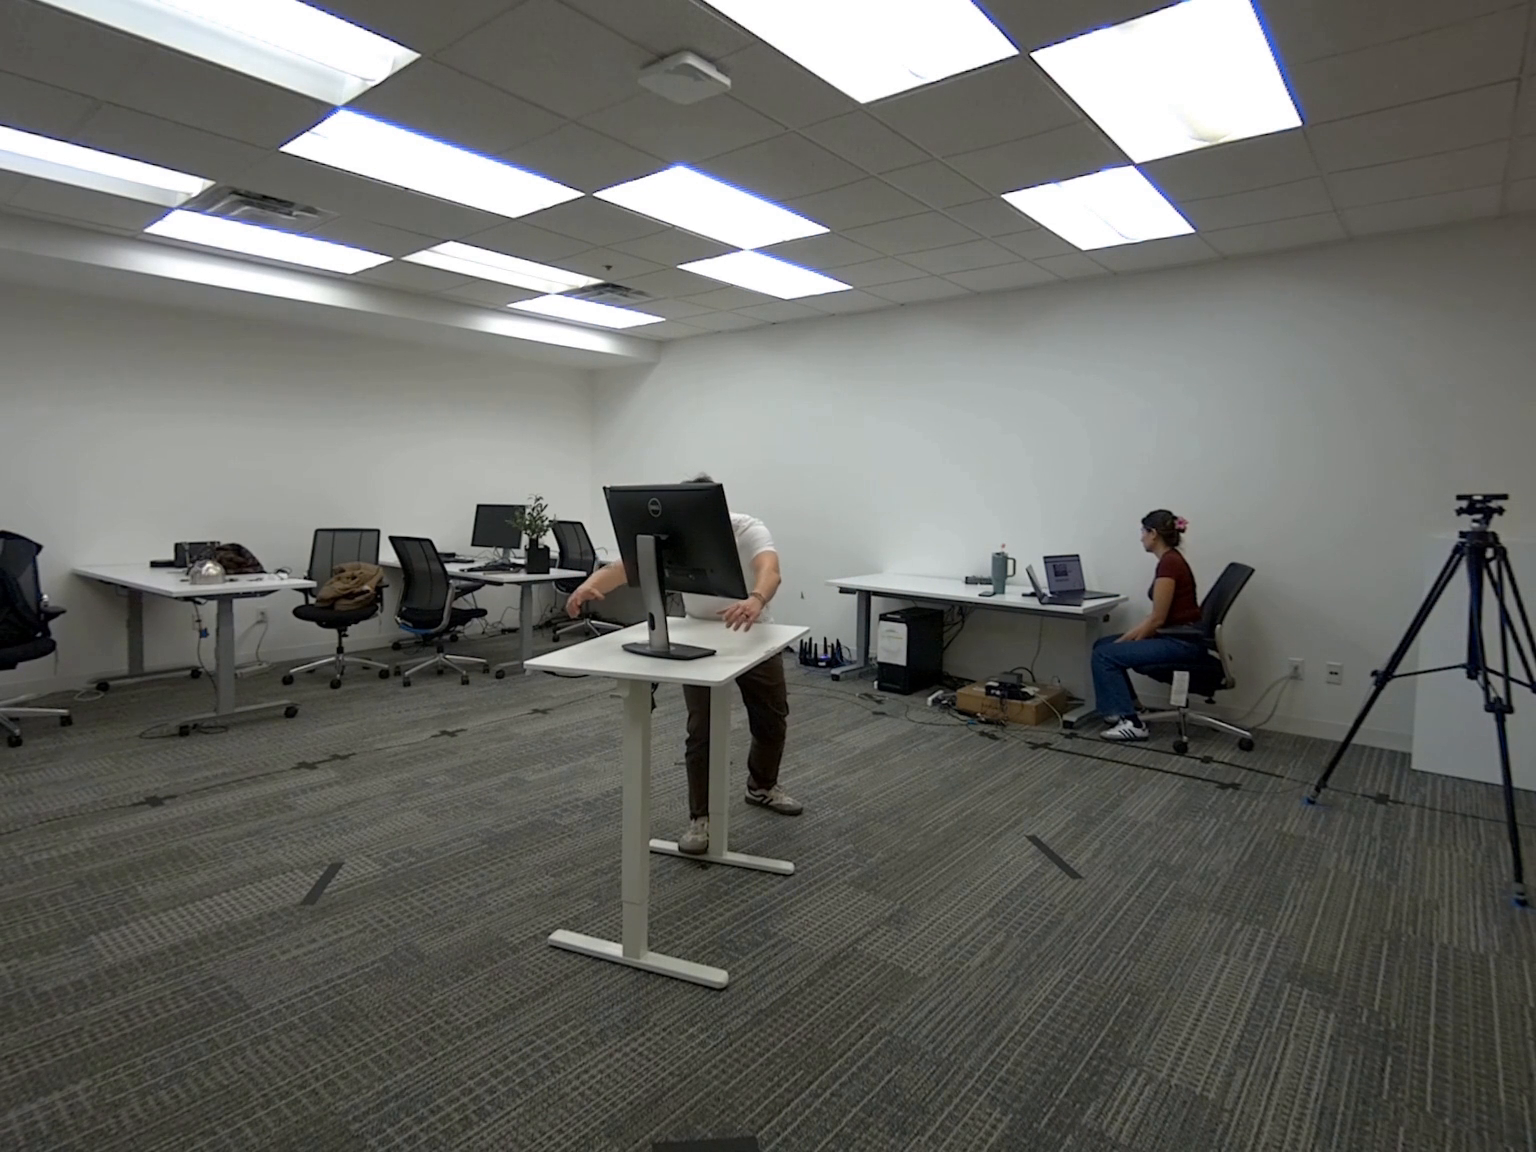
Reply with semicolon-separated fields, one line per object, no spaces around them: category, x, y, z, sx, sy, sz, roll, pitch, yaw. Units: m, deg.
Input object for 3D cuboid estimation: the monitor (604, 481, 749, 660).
monitor;-0.323;-0.023;2.593;0.557;0.520;0.182;3;8;41
